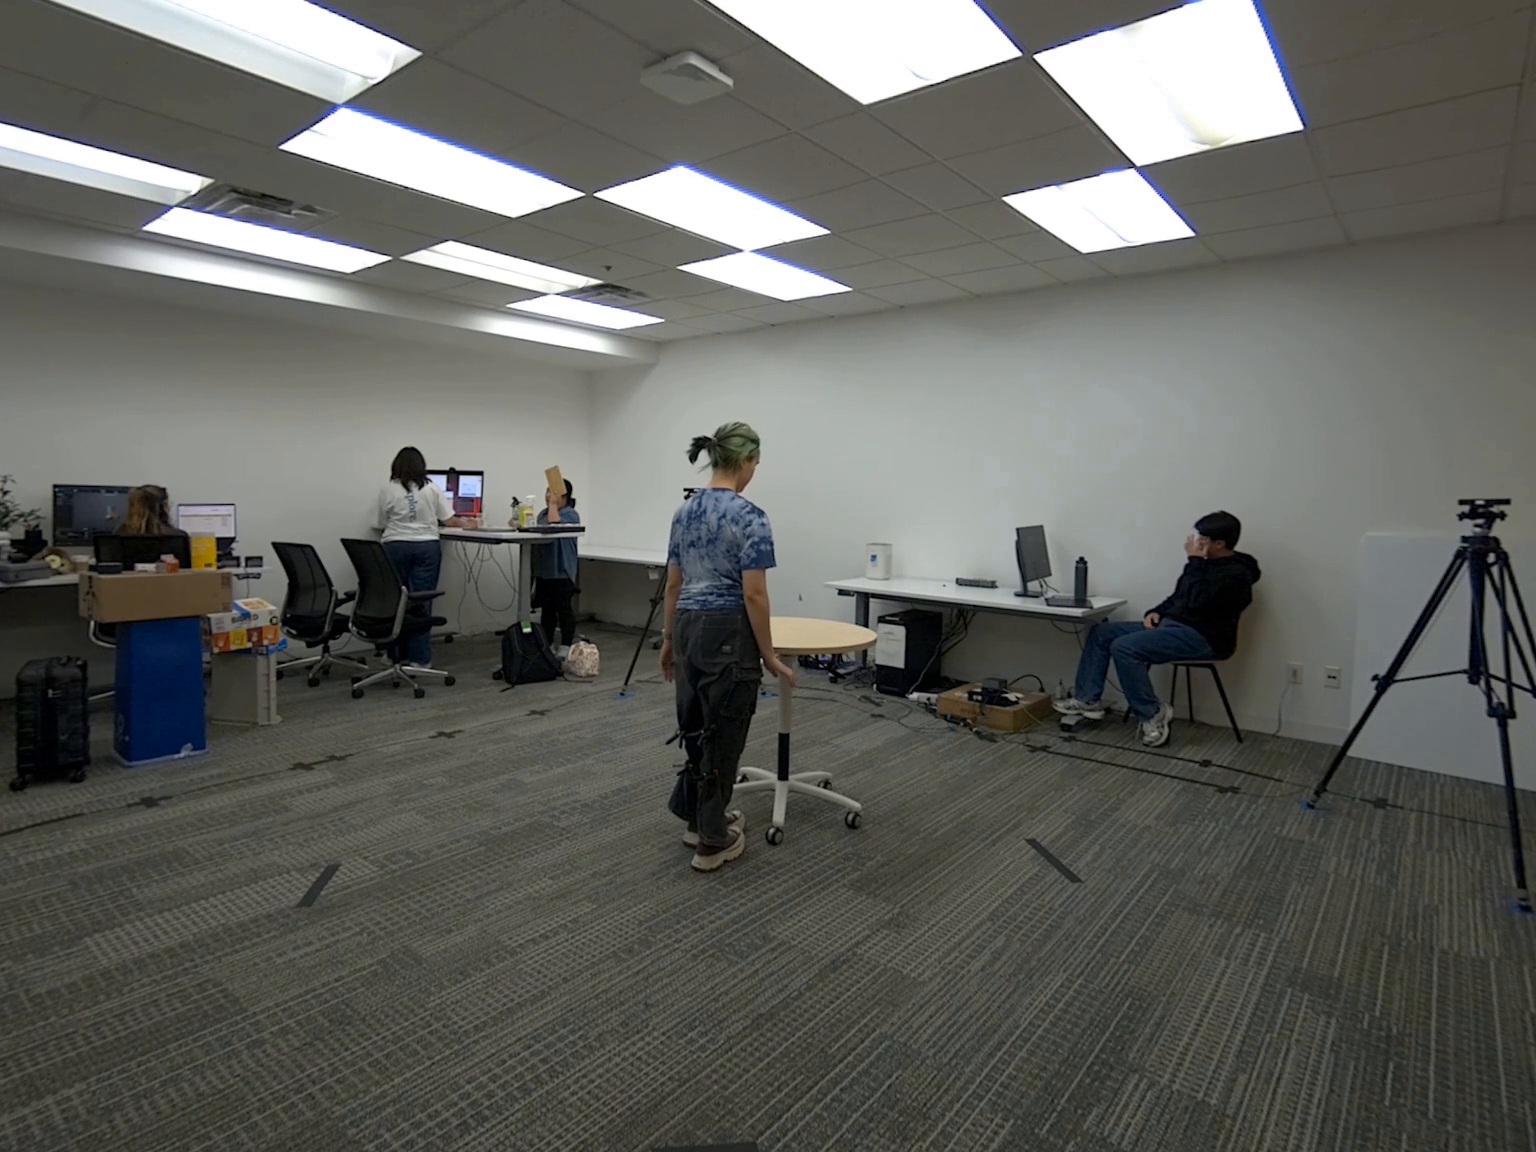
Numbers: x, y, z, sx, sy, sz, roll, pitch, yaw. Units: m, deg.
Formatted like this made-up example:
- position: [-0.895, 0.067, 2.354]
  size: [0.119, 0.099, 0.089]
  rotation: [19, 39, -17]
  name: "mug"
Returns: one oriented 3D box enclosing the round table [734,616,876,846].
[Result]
- position: [0.063, 0.629, 3.680]
  size: [0.763, 0.791, 0.768]
  rotation: [2, 4, -2]
  name: "round table"
